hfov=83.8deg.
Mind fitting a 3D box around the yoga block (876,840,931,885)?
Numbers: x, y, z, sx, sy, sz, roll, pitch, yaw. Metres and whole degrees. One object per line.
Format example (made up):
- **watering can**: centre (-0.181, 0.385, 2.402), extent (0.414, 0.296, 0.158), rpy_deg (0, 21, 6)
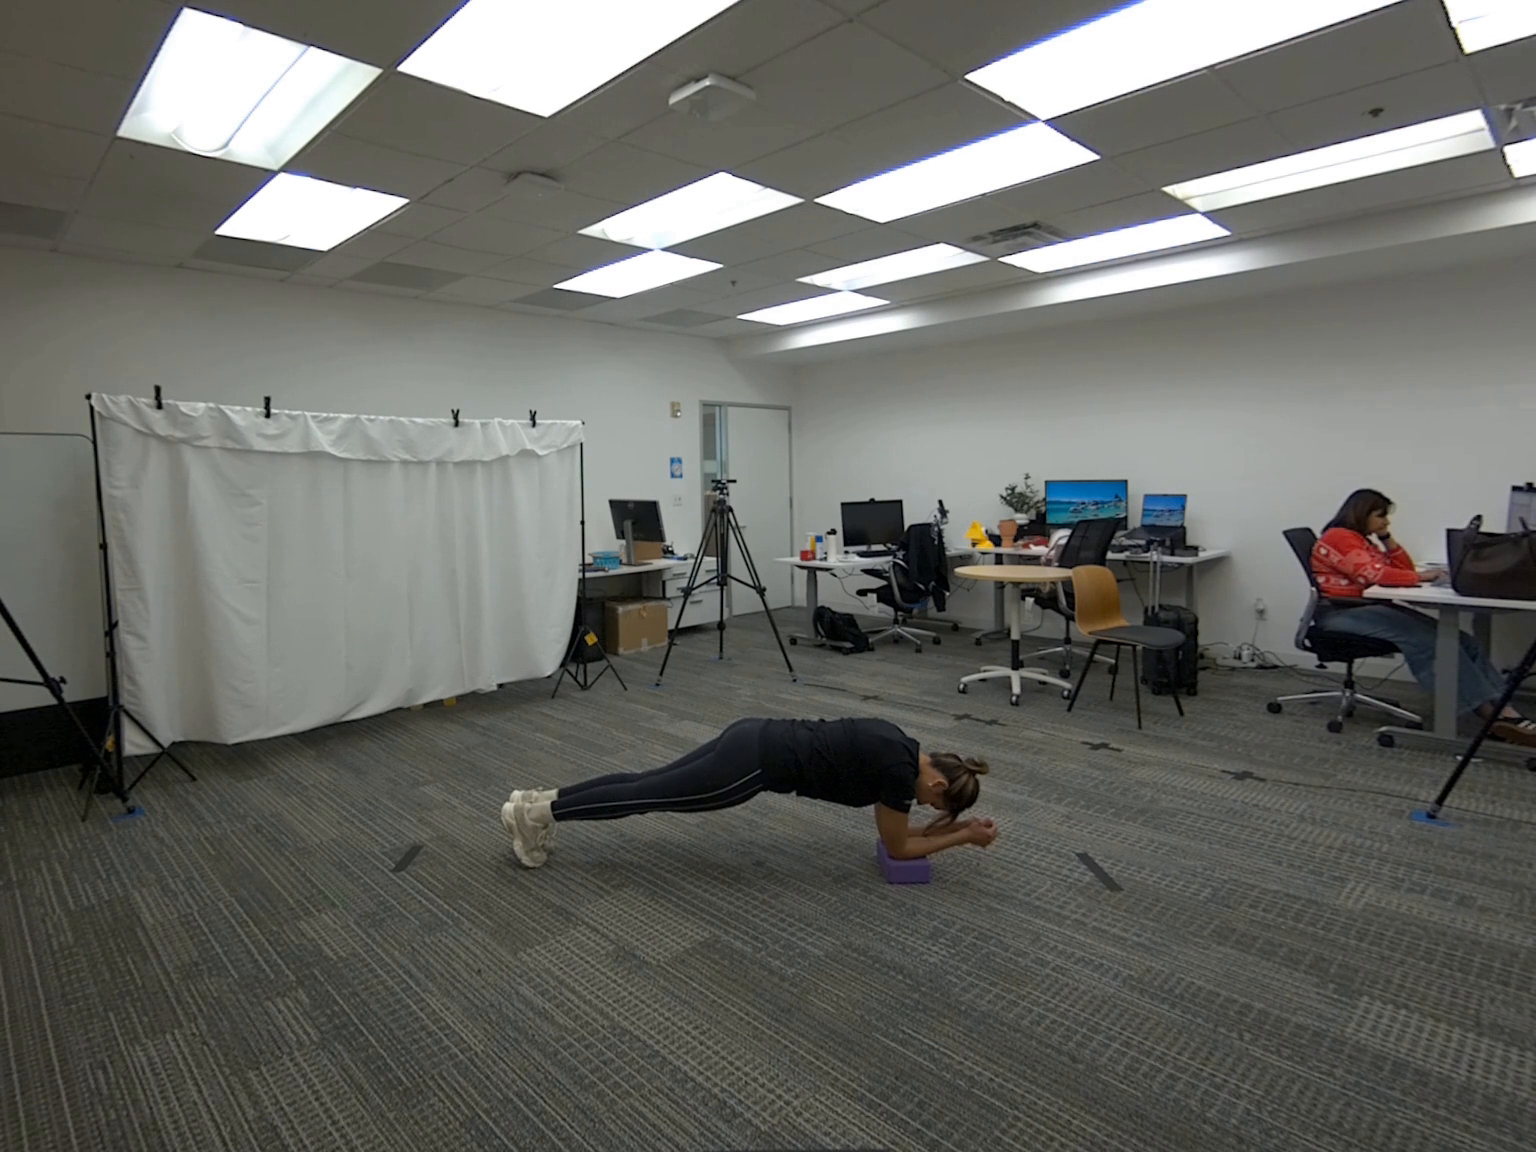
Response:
- **yoga block**: centre (0.477, 0.999, 3.039), extent (0.149, 0.076, 0.230), rpy_deg (0, 6, -1)
